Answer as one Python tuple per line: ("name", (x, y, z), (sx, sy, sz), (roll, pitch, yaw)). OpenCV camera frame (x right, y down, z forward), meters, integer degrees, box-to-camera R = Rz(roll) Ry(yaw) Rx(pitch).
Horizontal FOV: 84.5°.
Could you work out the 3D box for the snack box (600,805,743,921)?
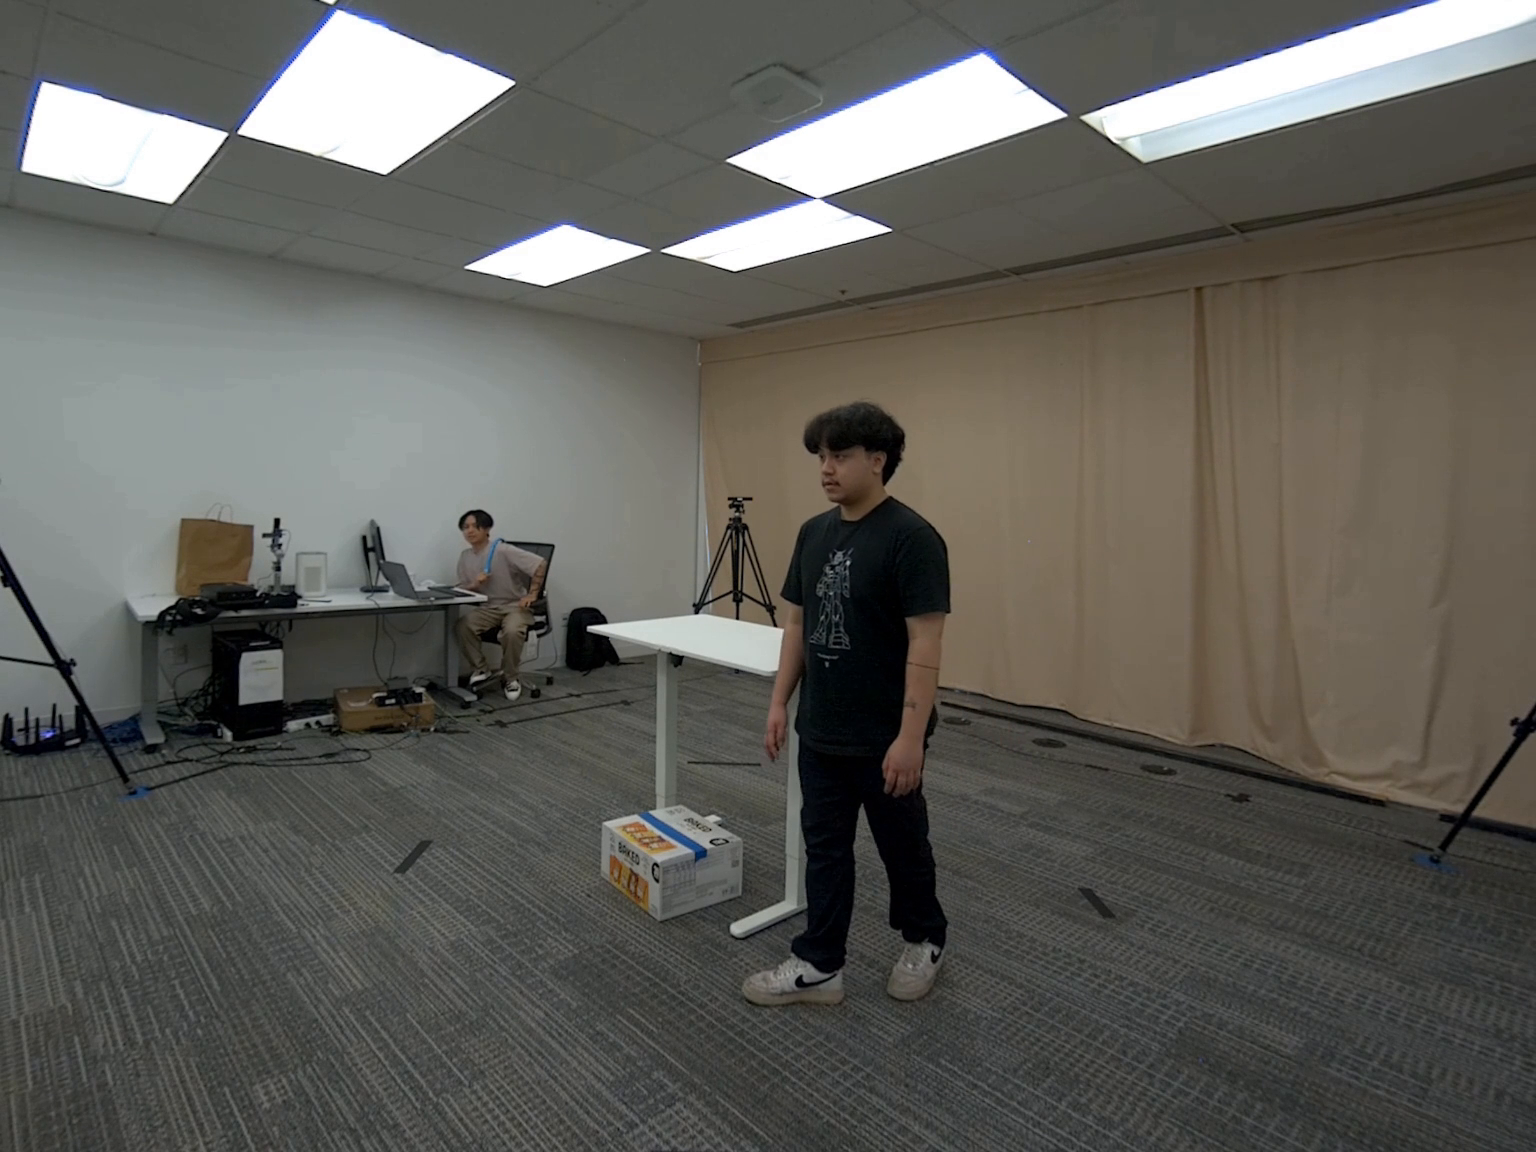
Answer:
("snack box", (-0.354, 1.013, 3.003), (0.333, 0.205, 0.415), (-2, 6, -38))
